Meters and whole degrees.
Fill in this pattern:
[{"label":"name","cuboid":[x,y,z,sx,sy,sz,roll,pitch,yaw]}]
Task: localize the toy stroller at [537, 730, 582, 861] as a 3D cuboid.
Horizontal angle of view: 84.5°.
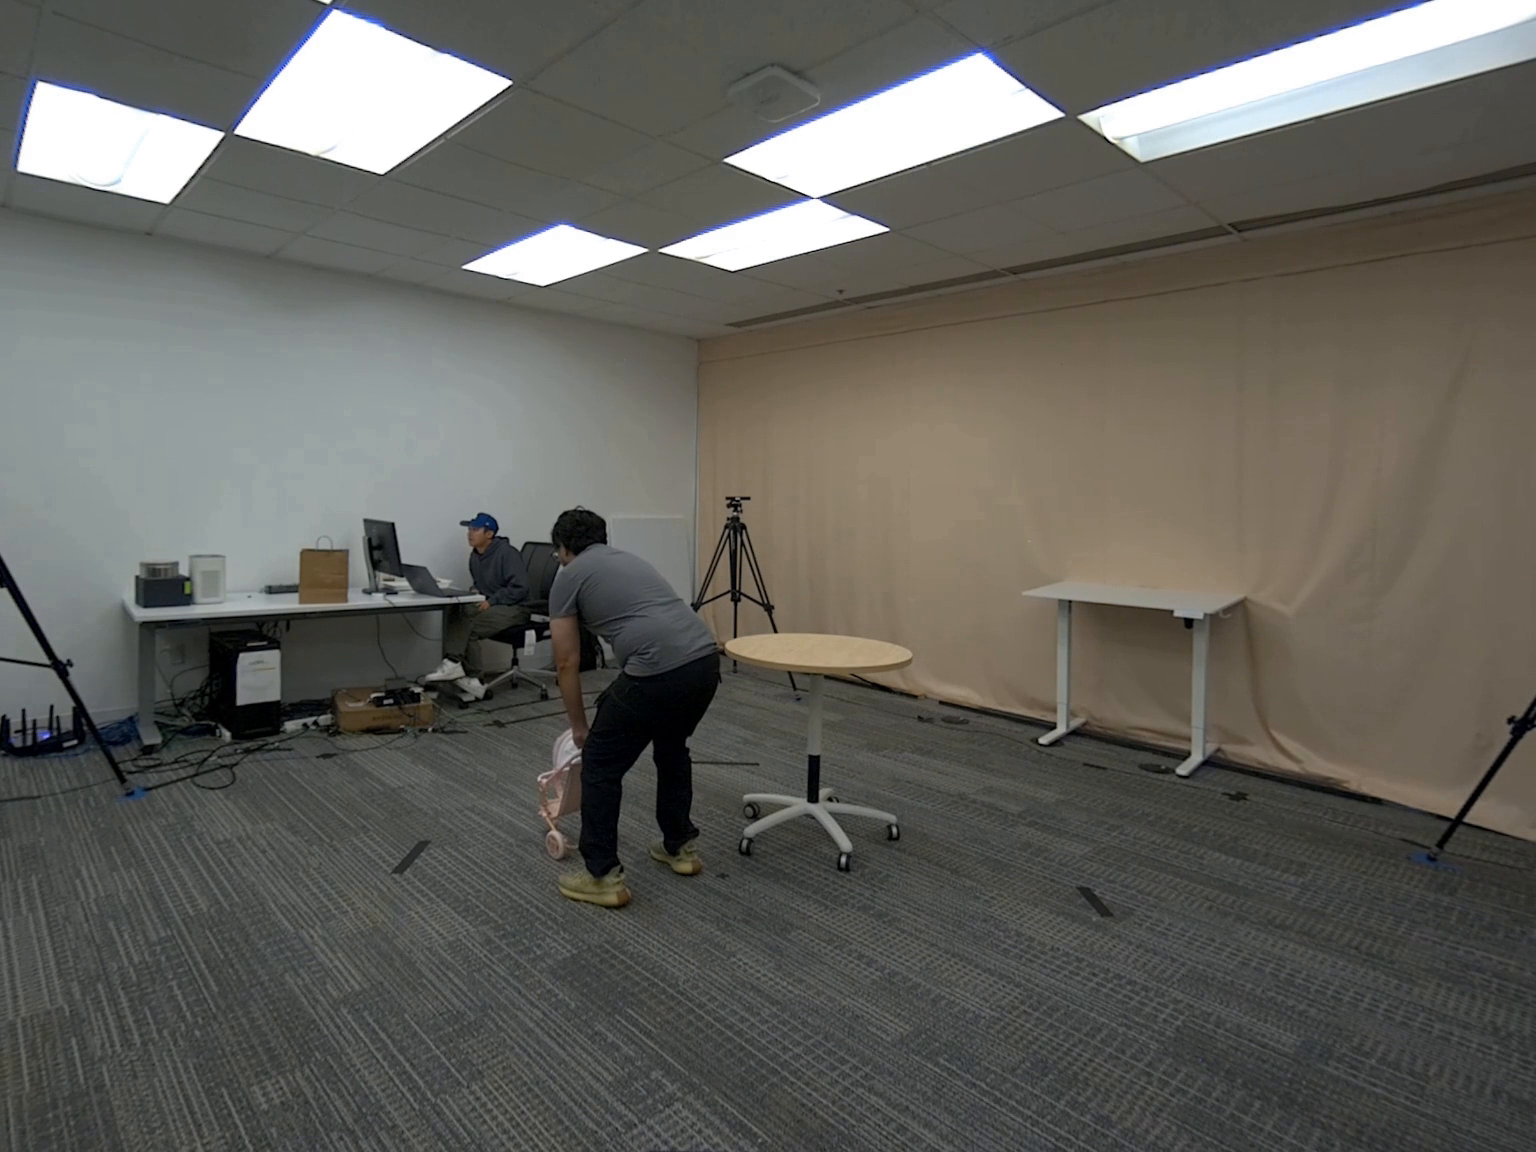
[{"label":"toy stroller","cuboid":[-0.775,0.841,3.340,0.275,0.530,0.352,-3,18,-39]}]
